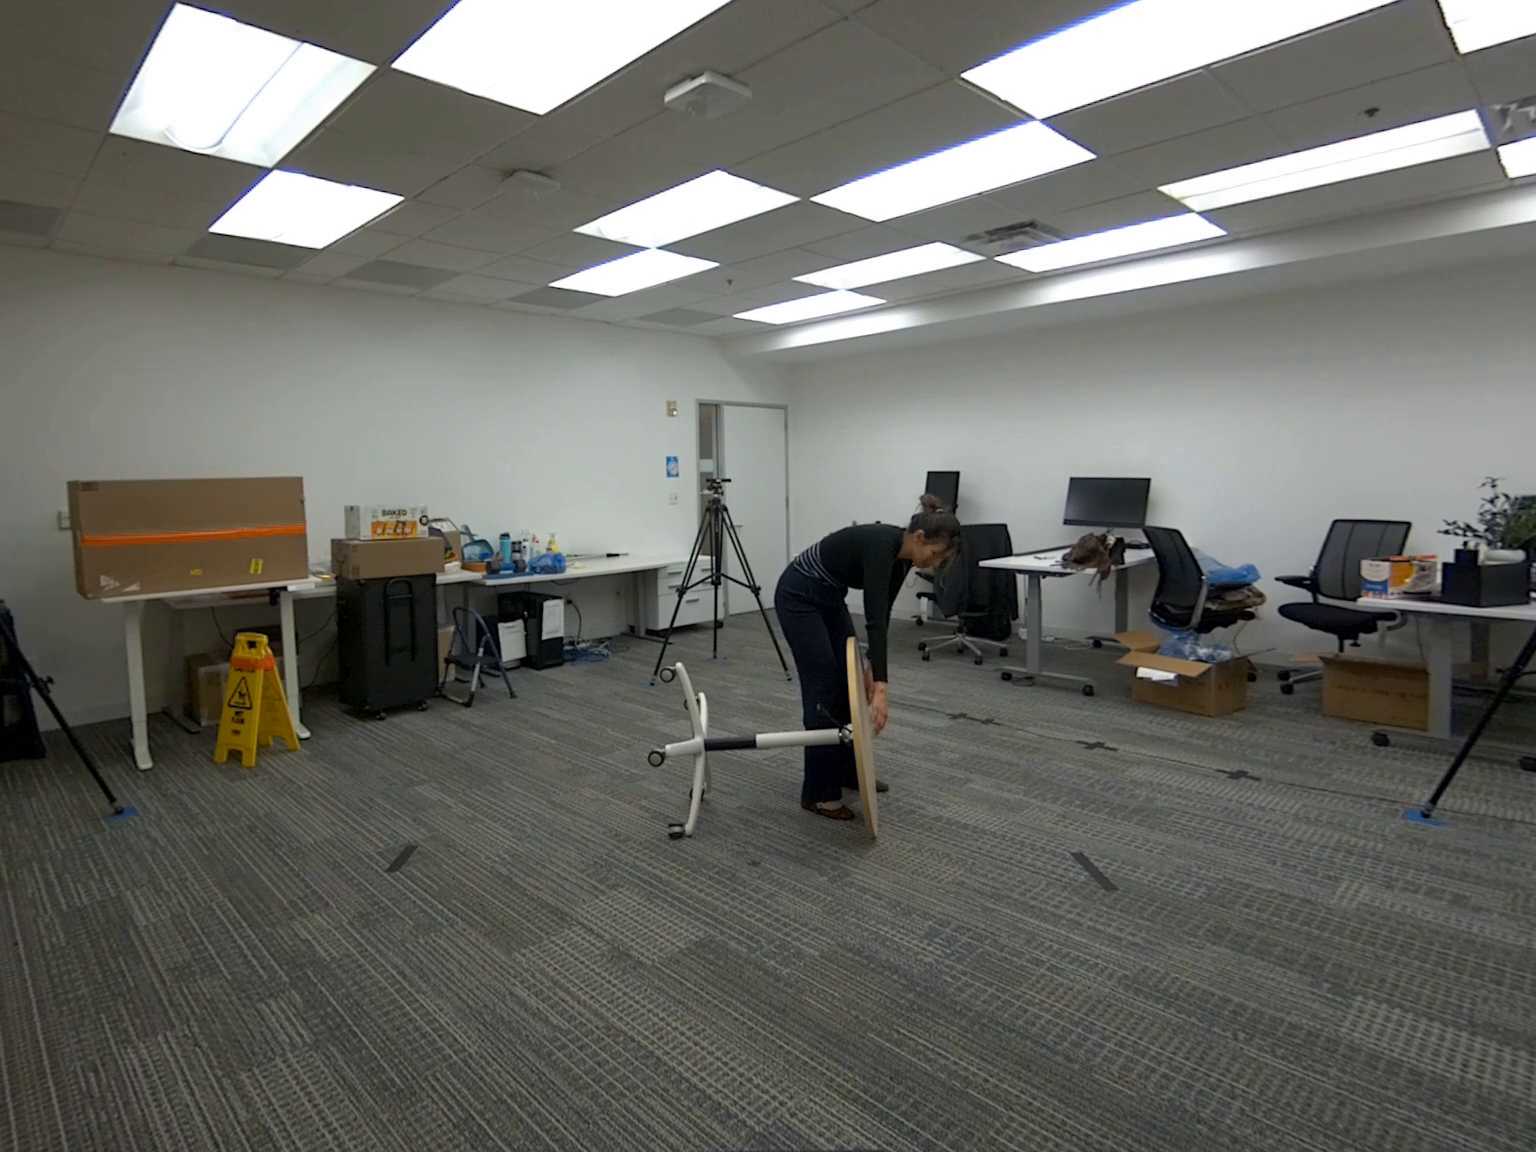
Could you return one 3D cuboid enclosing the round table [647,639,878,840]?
[{"bbox_3d":[-0.005,0.671,3.448,0.801,0.762,0.760,-7,4,9],"label":"round table"}]
